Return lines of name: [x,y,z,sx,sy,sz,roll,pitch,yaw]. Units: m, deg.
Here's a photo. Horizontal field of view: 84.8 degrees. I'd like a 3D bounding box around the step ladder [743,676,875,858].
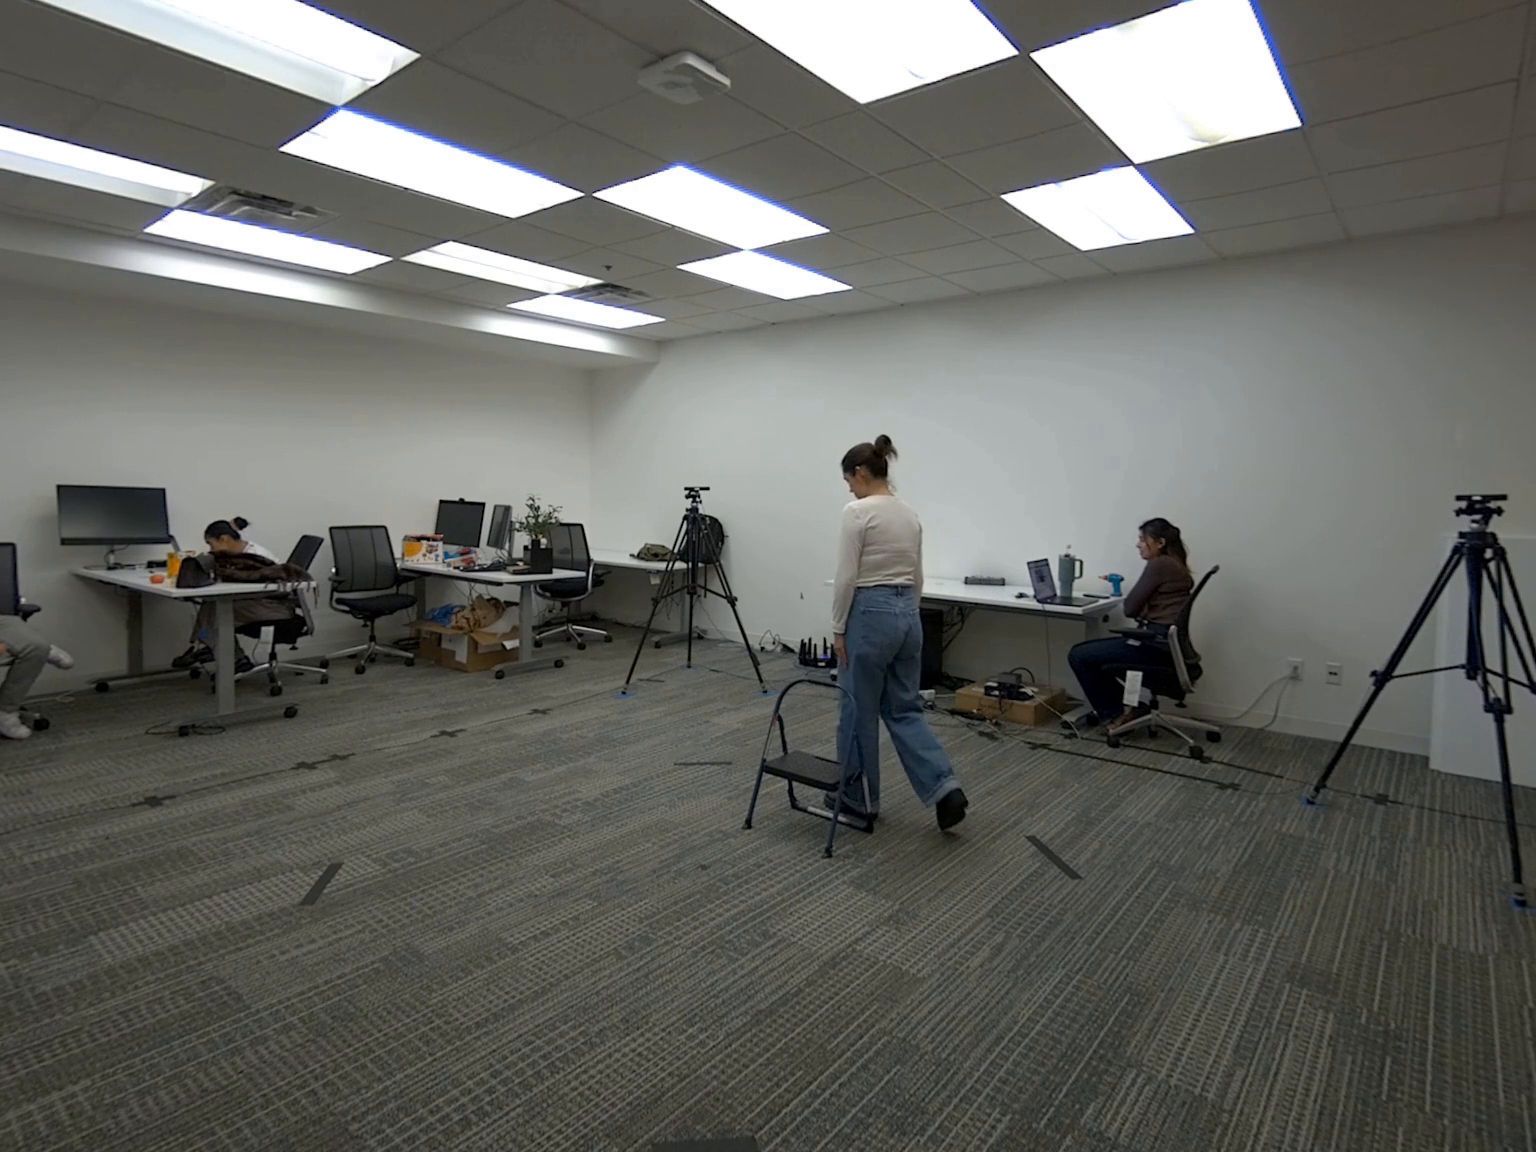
step ladder: [0.165,0.736,3.461,0.445,0.604,0.339,4,4,39]
